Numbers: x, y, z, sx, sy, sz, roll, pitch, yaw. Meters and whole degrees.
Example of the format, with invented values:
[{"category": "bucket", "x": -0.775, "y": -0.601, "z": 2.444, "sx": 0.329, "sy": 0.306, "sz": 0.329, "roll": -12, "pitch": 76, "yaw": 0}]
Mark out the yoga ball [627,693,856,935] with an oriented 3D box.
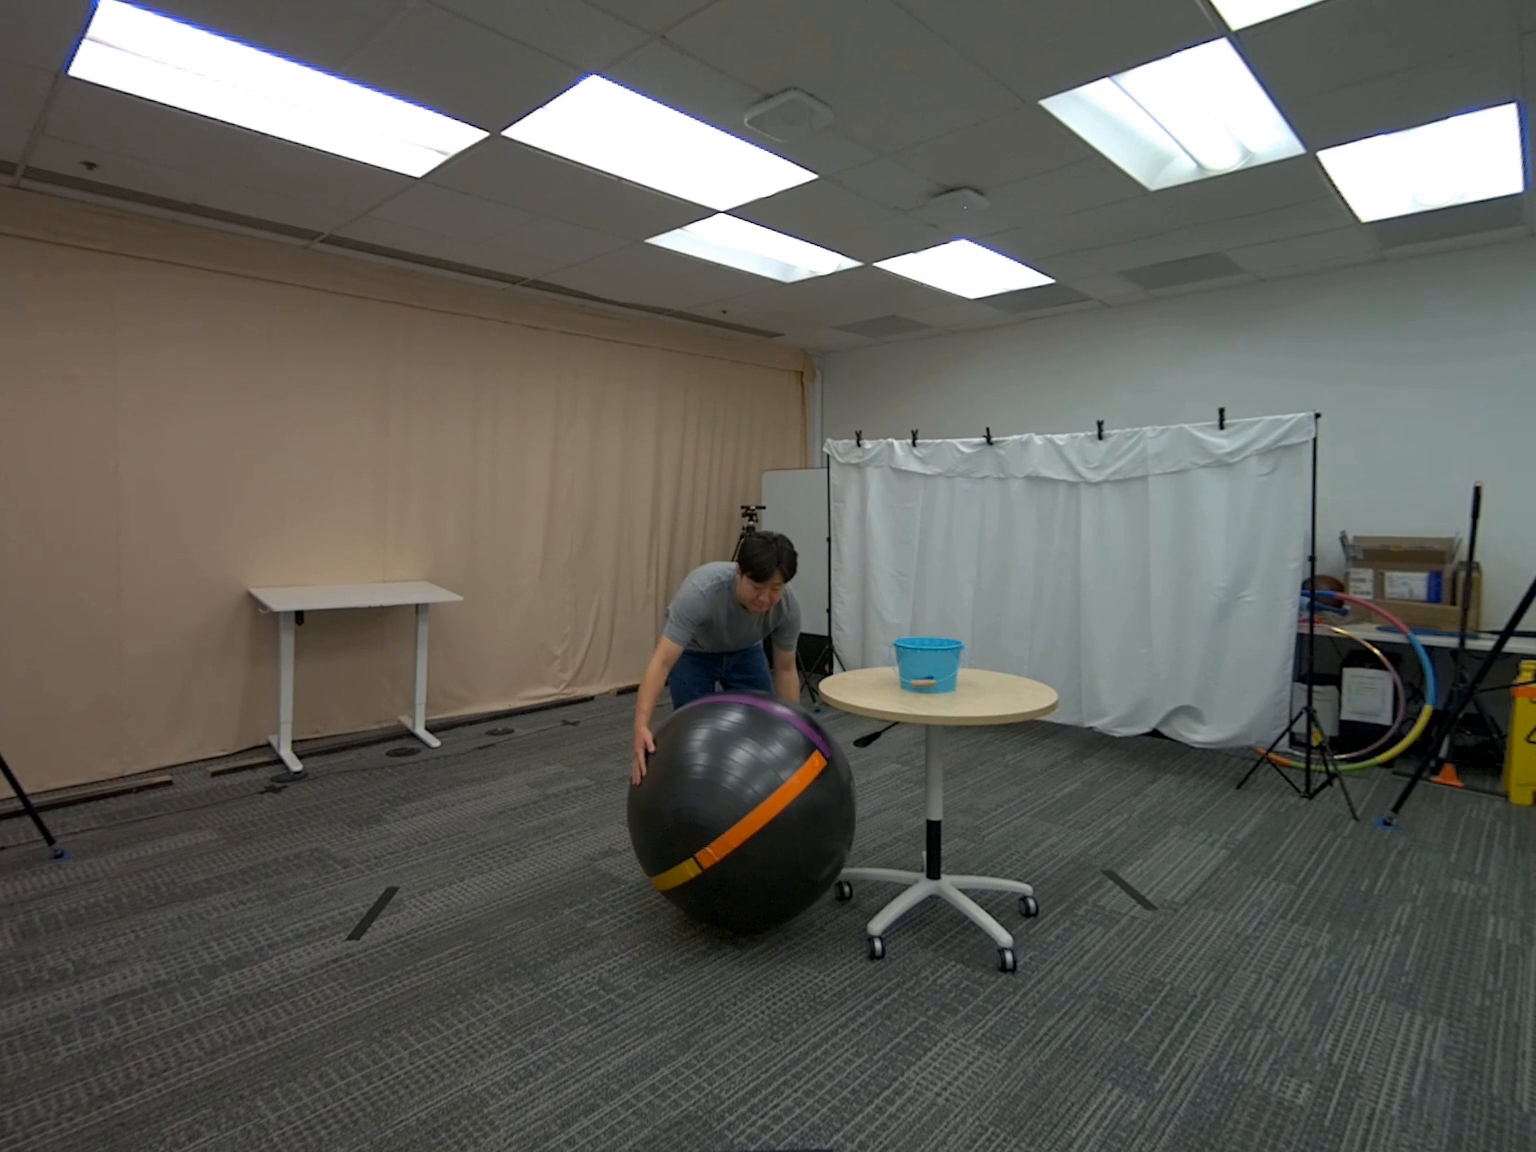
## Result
[{"category": "yoga ball", "x": -0.092, "y": 0.755, "z": 2.793, "sx": 0.757, "sy": 0.756, "sz": 0.760, "roll": 0, "pitch": 4, "yaw": -2}]
